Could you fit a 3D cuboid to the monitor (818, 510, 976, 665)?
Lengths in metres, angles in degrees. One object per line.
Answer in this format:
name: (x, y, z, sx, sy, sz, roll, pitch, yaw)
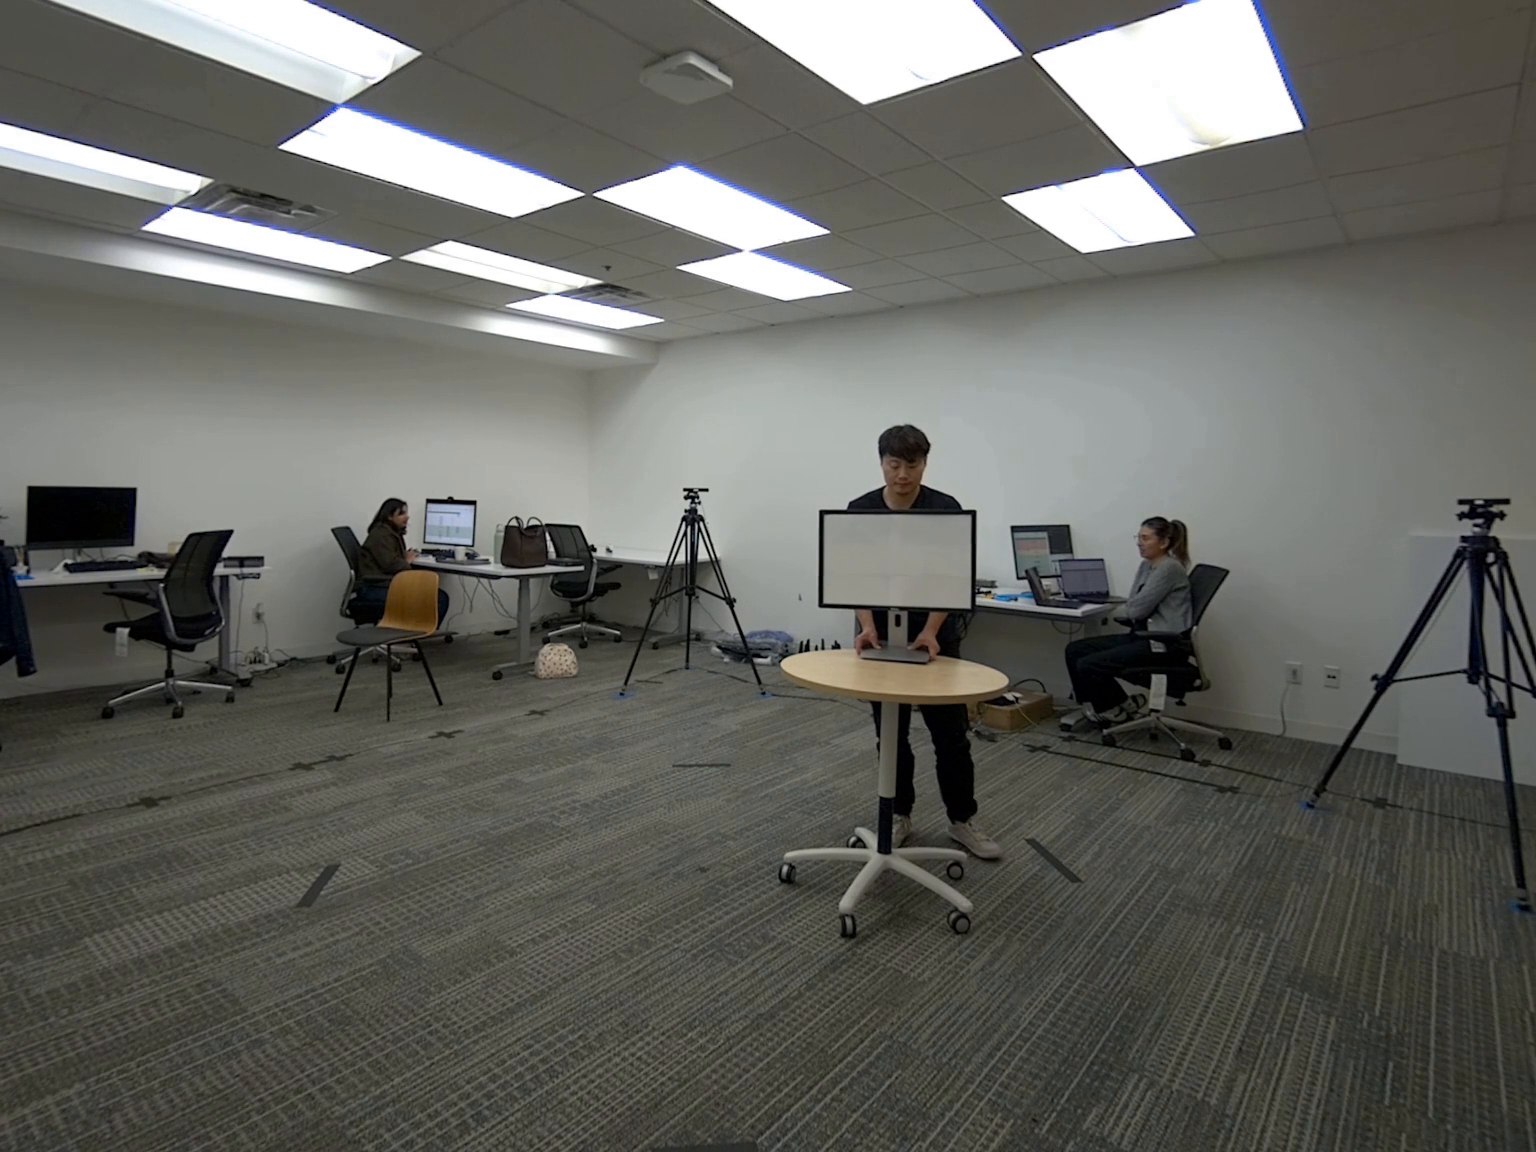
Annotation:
monitor: (0.465, 0.020, 3.118, 0.549, 0.516, 0.186, 2, 12, 17)
